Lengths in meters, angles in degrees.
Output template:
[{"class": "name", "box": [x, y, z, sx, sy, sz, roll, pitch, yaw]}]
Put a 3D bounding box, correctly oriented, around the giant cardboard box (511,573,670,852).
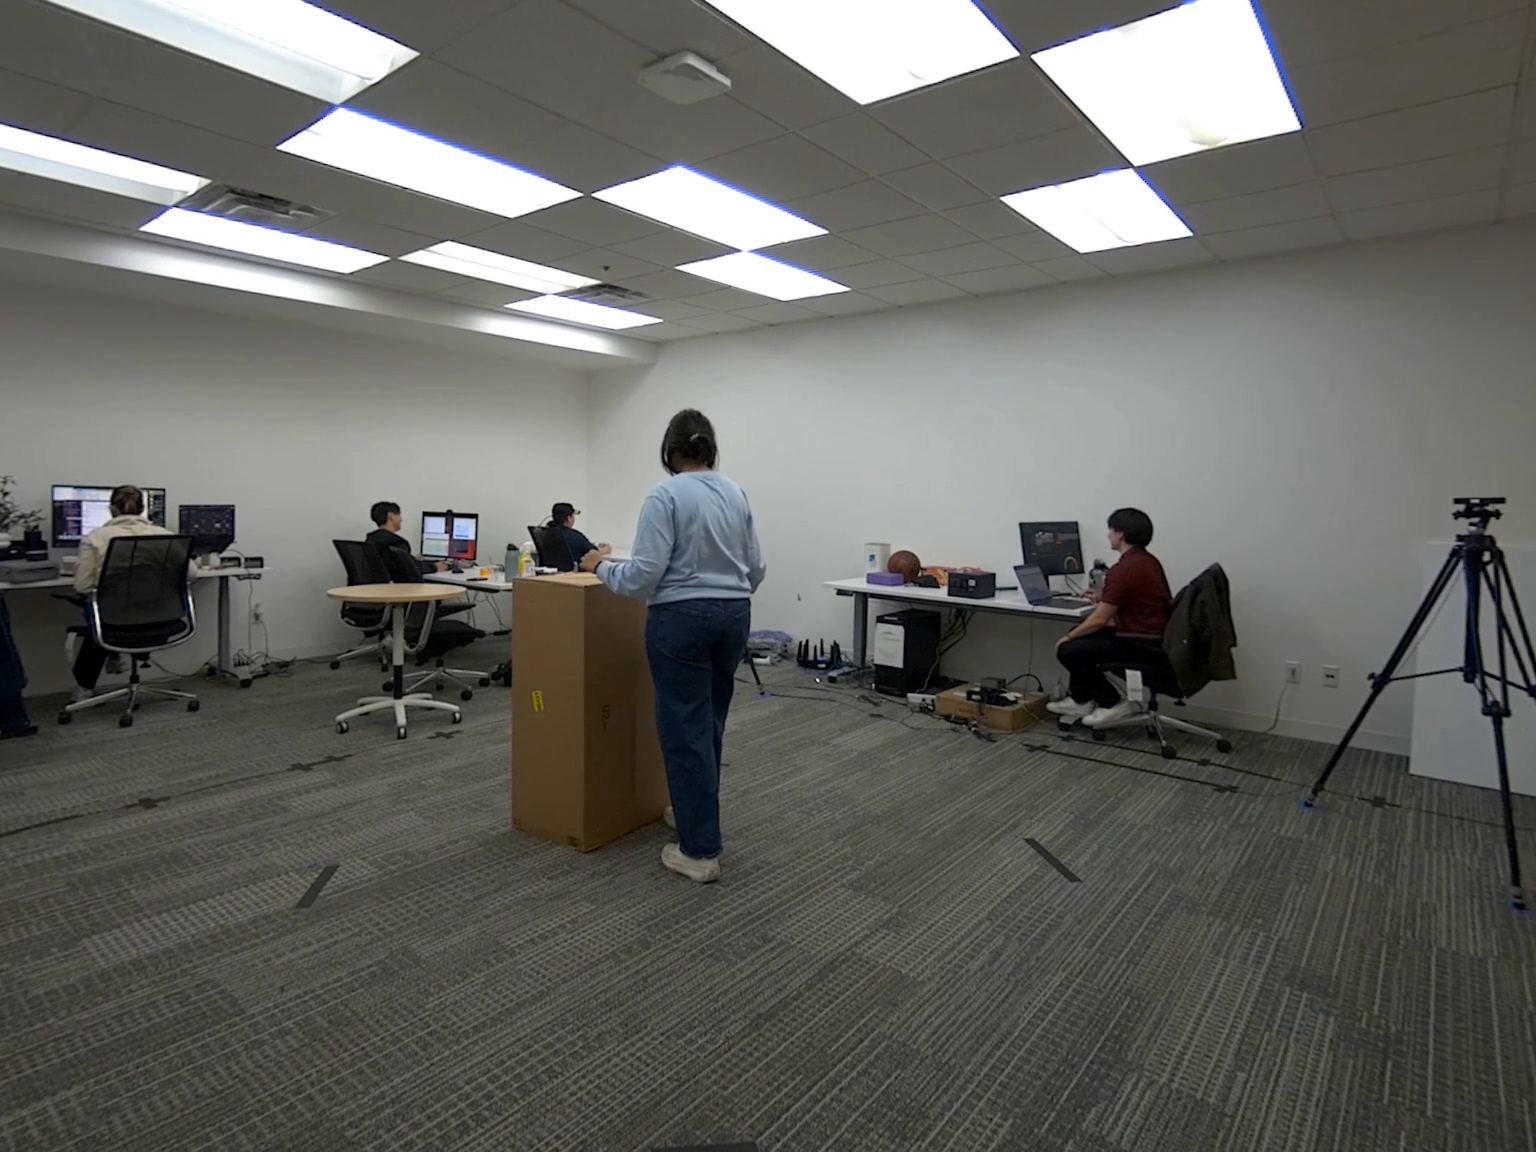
[{"class": "giant cardboard box", "box": [-0.728, 0.506, 3.559, 0.461, 1.025, 0.567, 2, 3, 37]}]
